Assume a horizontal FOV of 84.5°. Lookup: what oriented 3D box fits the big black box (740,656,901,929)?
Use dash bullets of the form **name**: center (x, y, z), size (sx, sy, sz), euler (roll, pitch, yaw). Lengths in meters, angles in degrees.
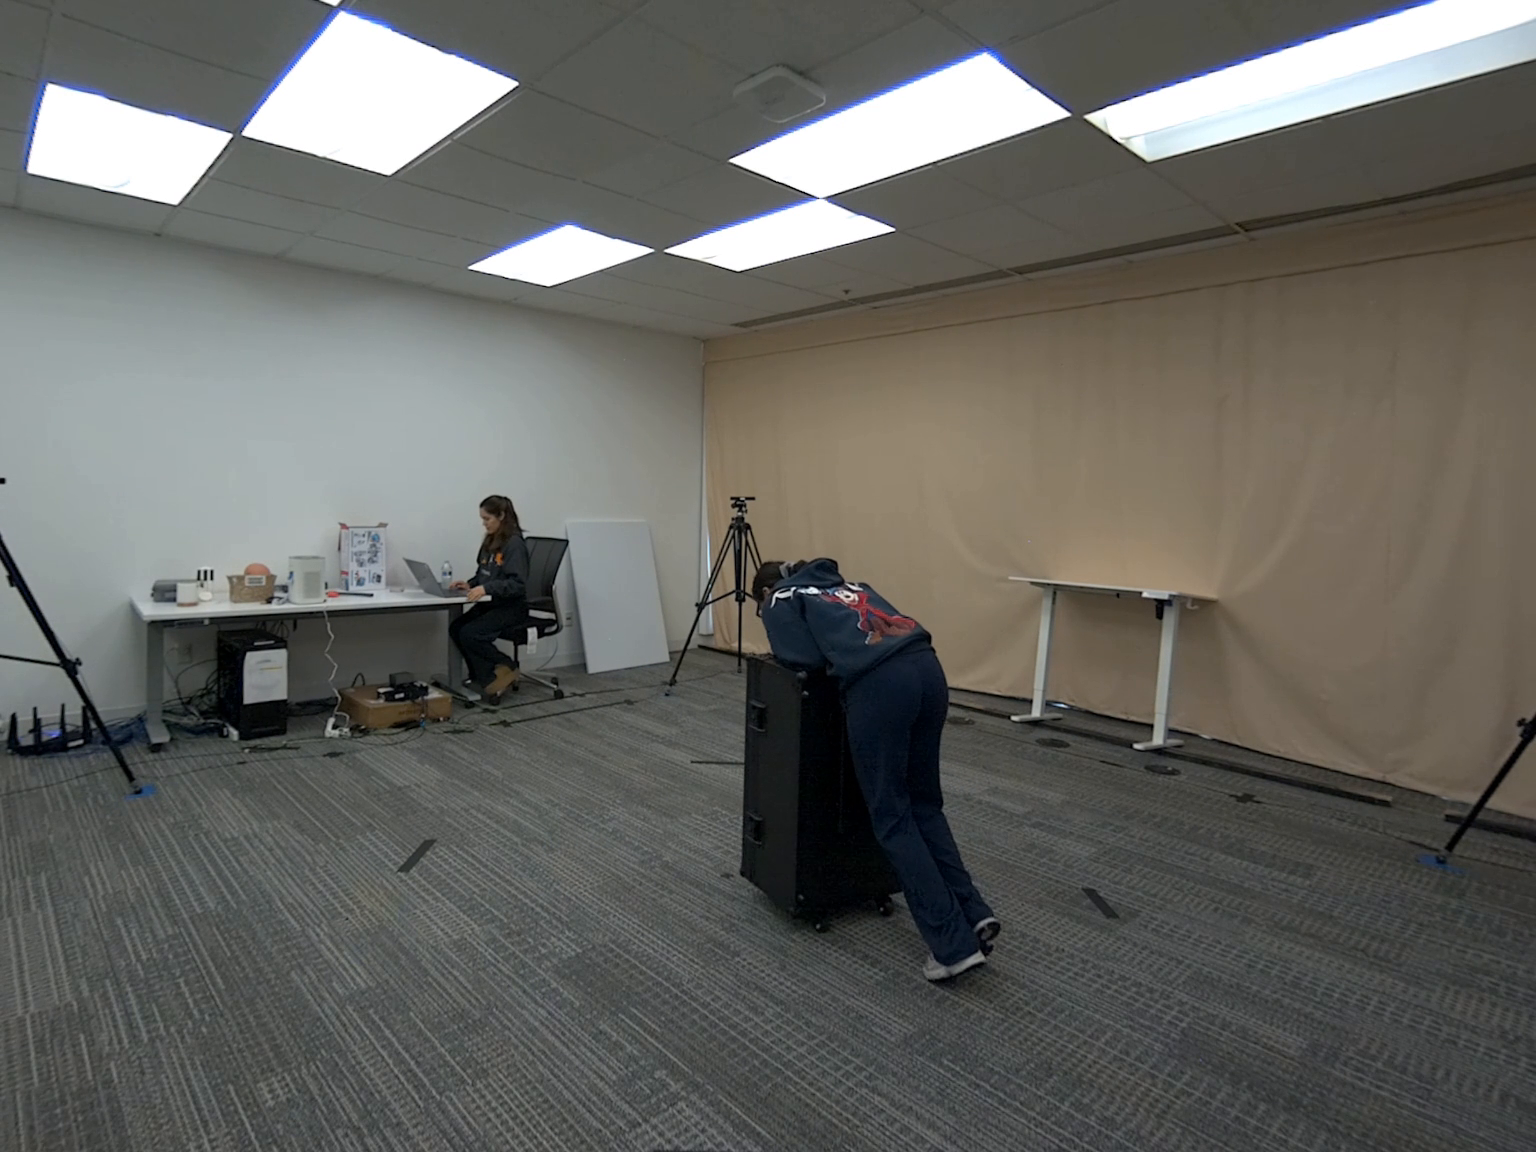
- **big black box**: center (0.214, 0.710, 2.899), size (0.511, 0.859, 0.405), euler (0, 4, -30)
